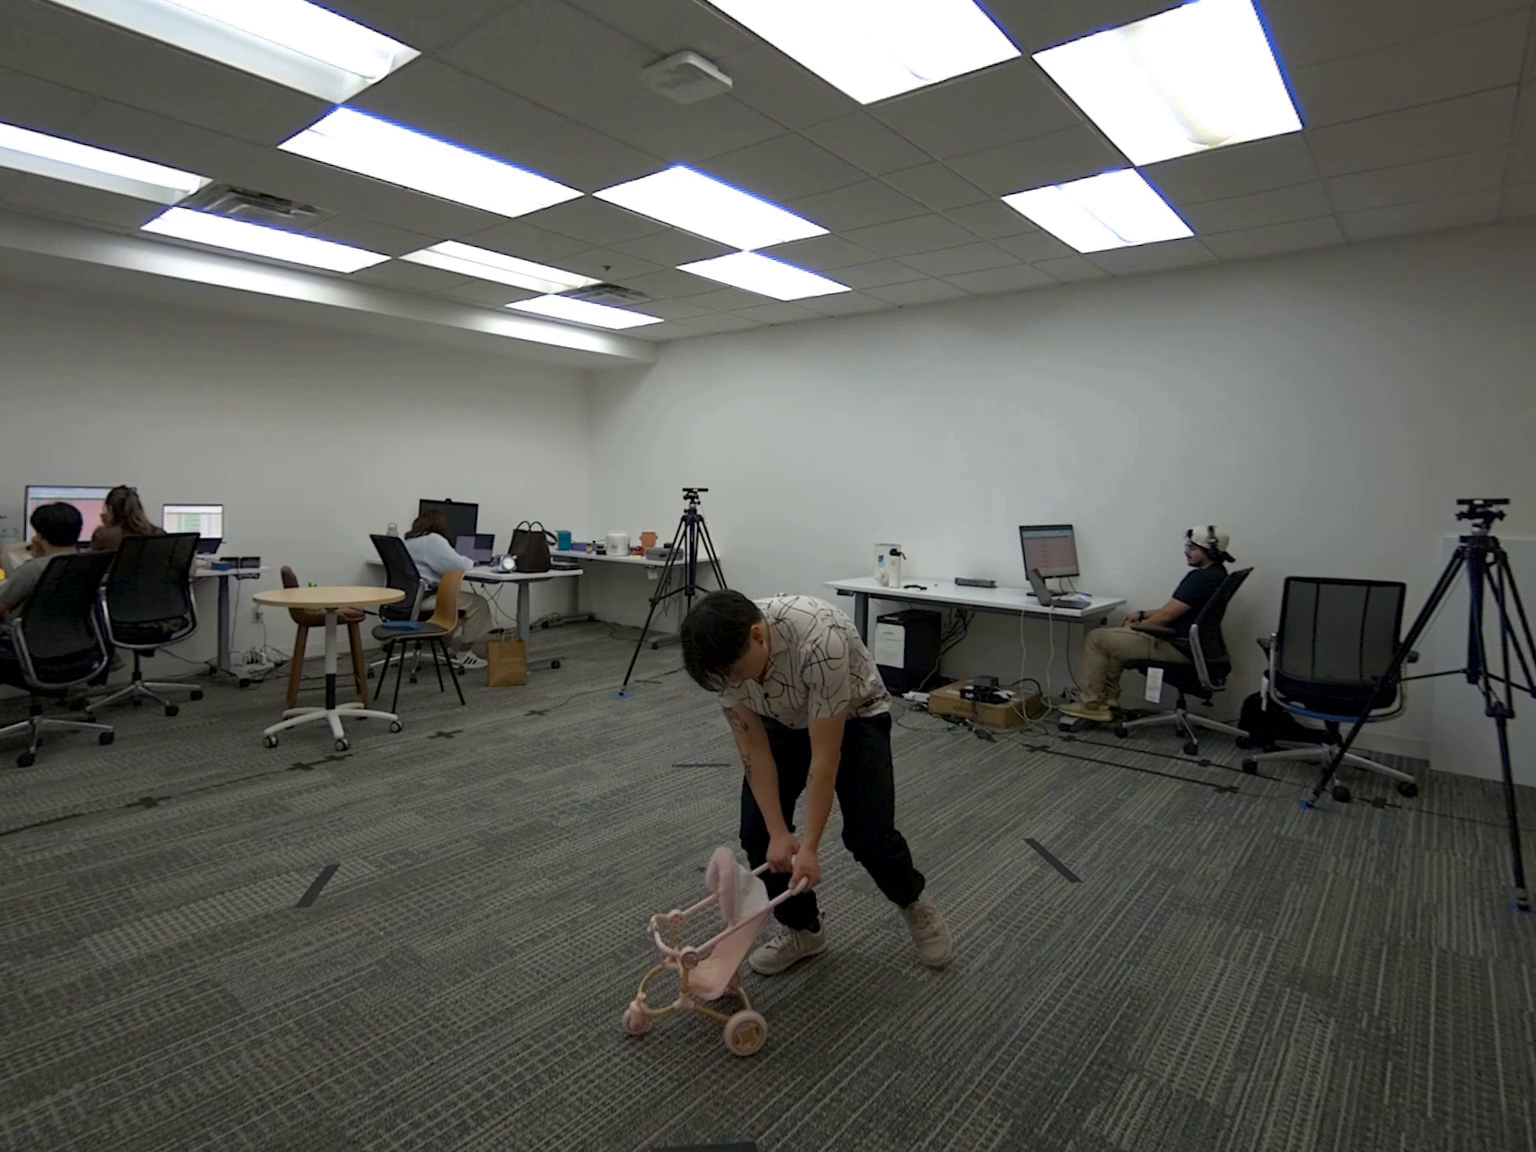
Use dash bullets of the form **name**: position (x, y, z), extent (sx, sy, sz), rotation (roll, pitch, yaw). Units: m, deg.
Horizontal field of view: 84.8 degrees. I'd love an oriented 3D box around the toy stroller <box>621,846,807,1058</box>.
- **toy stroller**: position (-0.151, 0.941, 2.201), extent (0.337, 0.535, 0.285), rotation (18, 0, -10)
